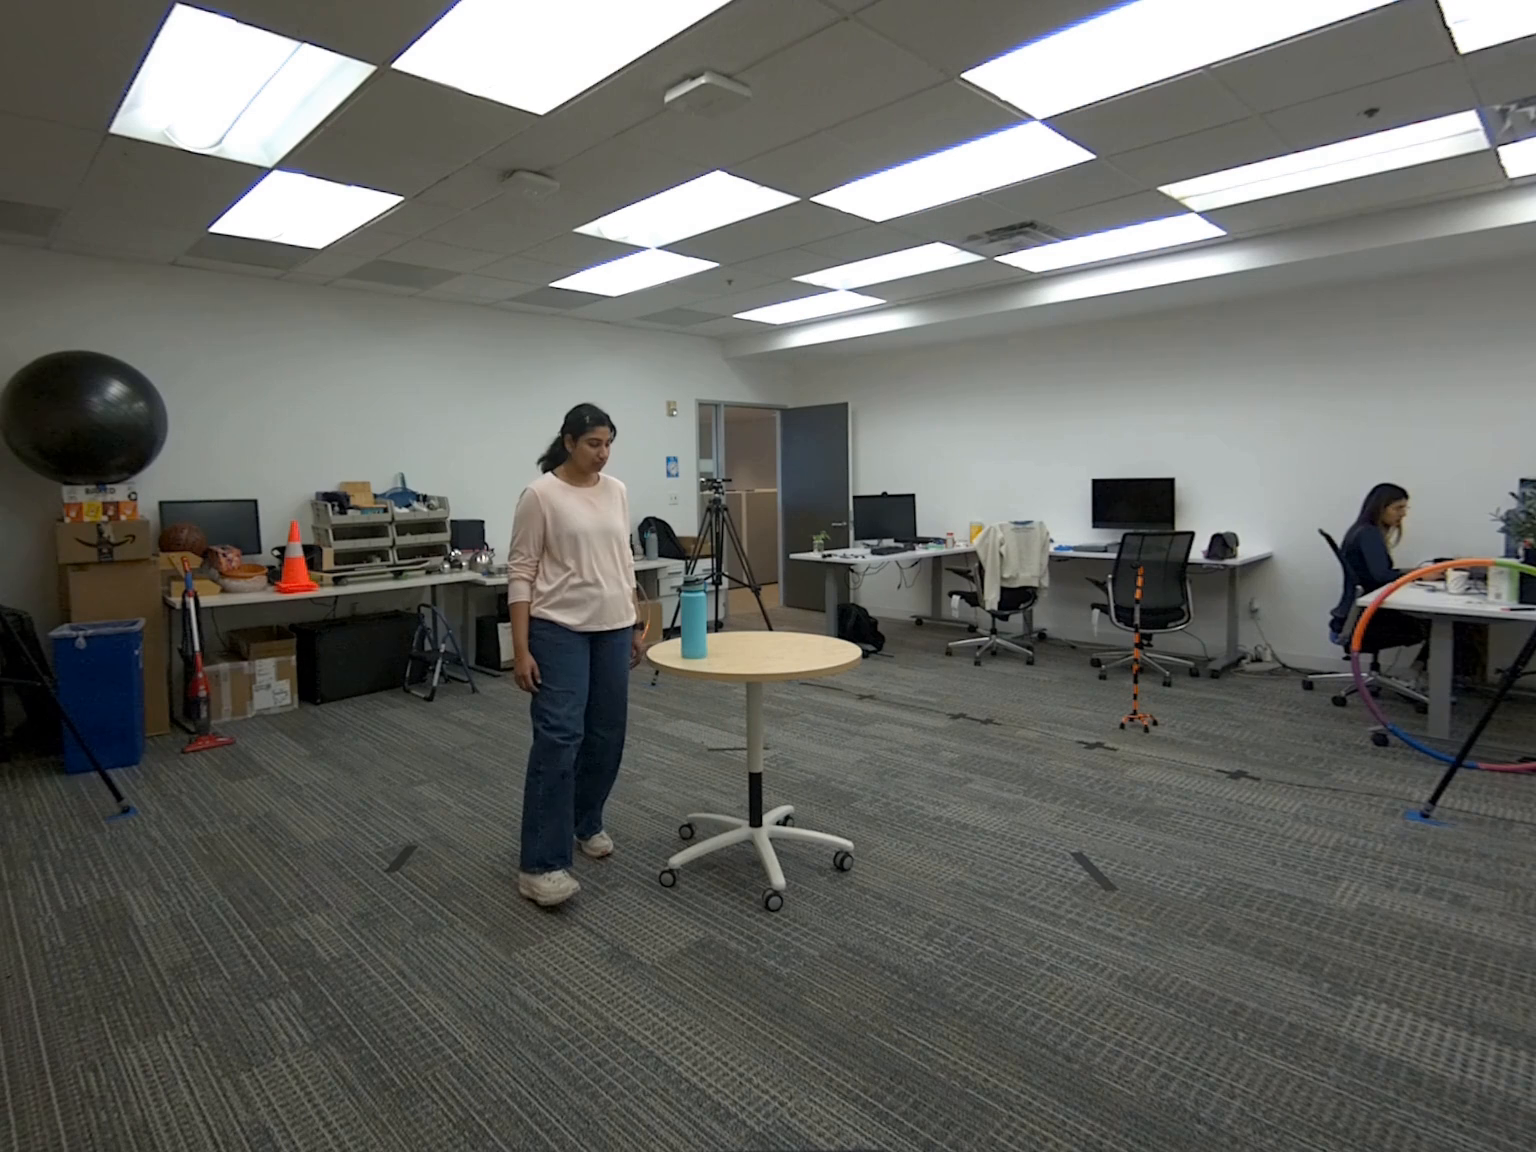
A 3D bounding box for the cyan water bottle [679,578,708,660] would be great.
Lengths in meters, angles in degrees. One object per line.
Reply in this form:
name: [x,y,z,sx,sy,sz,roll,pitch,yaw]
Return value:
cyan water bottle: [-0.255,0.139,2.948,0.092,0.282,0.093,1,4,-2]
